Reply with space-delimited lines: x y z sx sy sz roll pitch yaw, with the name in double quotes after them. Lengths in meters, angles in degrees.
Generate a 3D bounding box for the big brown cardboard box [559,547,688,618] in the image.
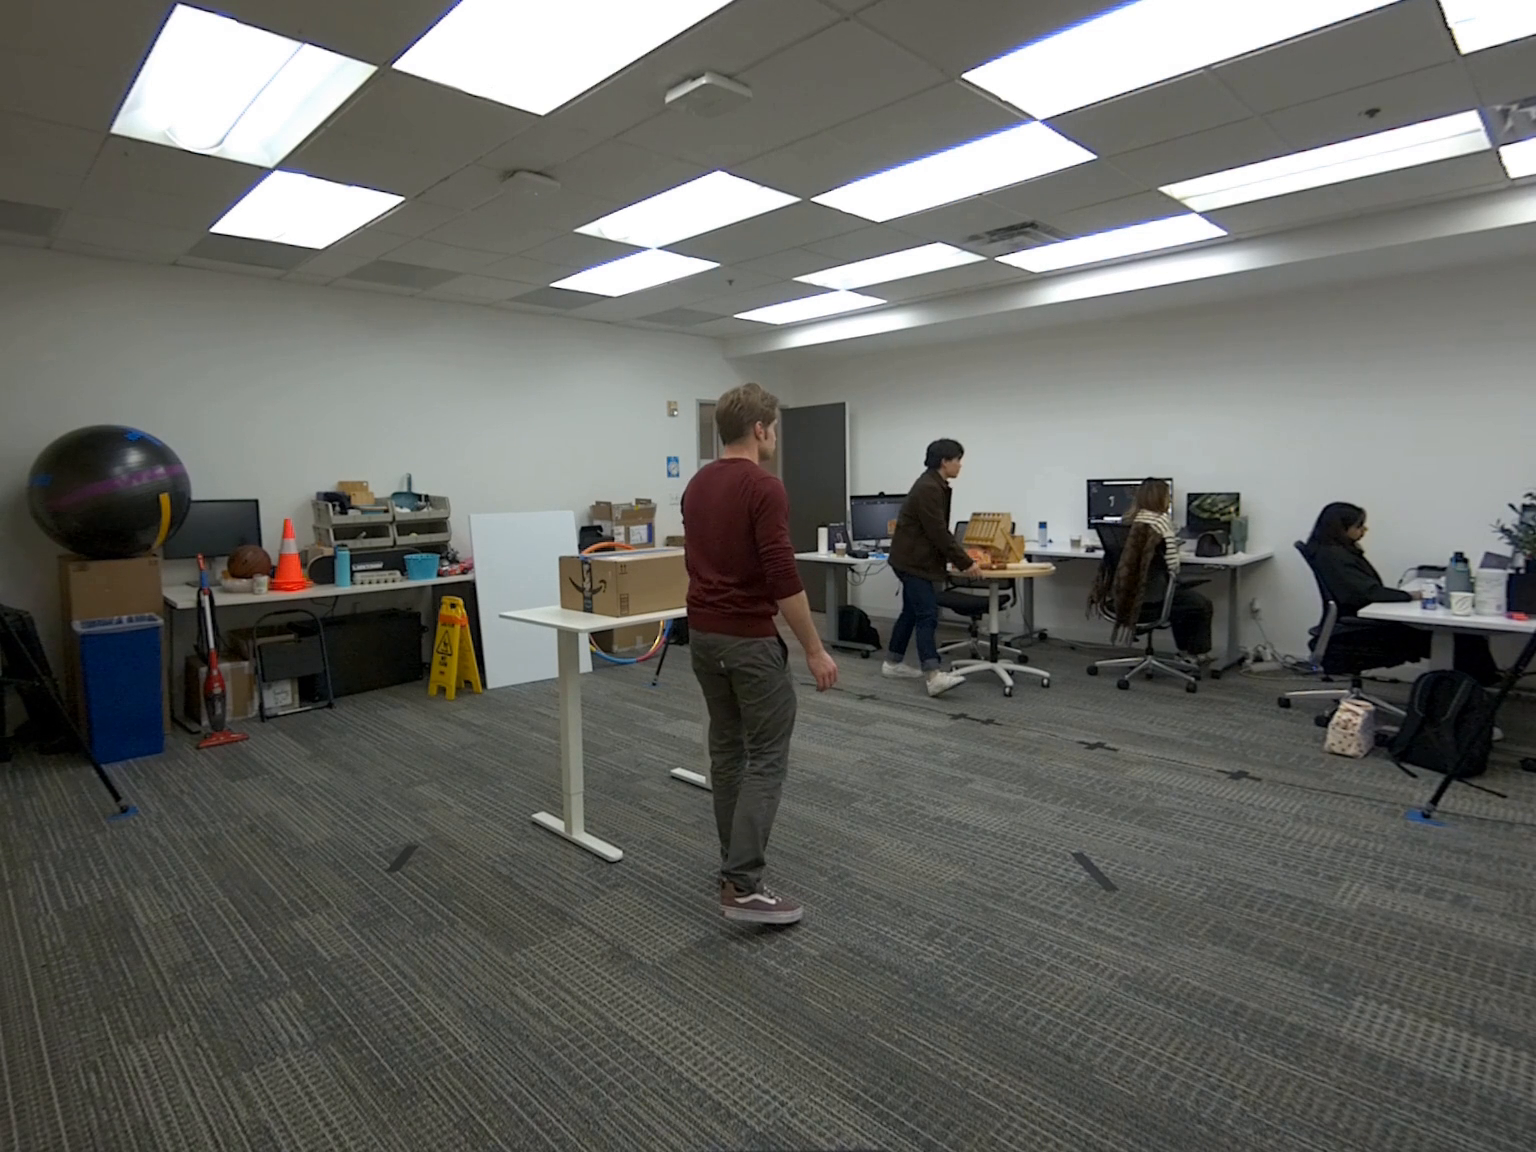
-0.520 0.012 3.555 0.573 0.232 0.430 -7 7 -44 "big brown cardboard box"
